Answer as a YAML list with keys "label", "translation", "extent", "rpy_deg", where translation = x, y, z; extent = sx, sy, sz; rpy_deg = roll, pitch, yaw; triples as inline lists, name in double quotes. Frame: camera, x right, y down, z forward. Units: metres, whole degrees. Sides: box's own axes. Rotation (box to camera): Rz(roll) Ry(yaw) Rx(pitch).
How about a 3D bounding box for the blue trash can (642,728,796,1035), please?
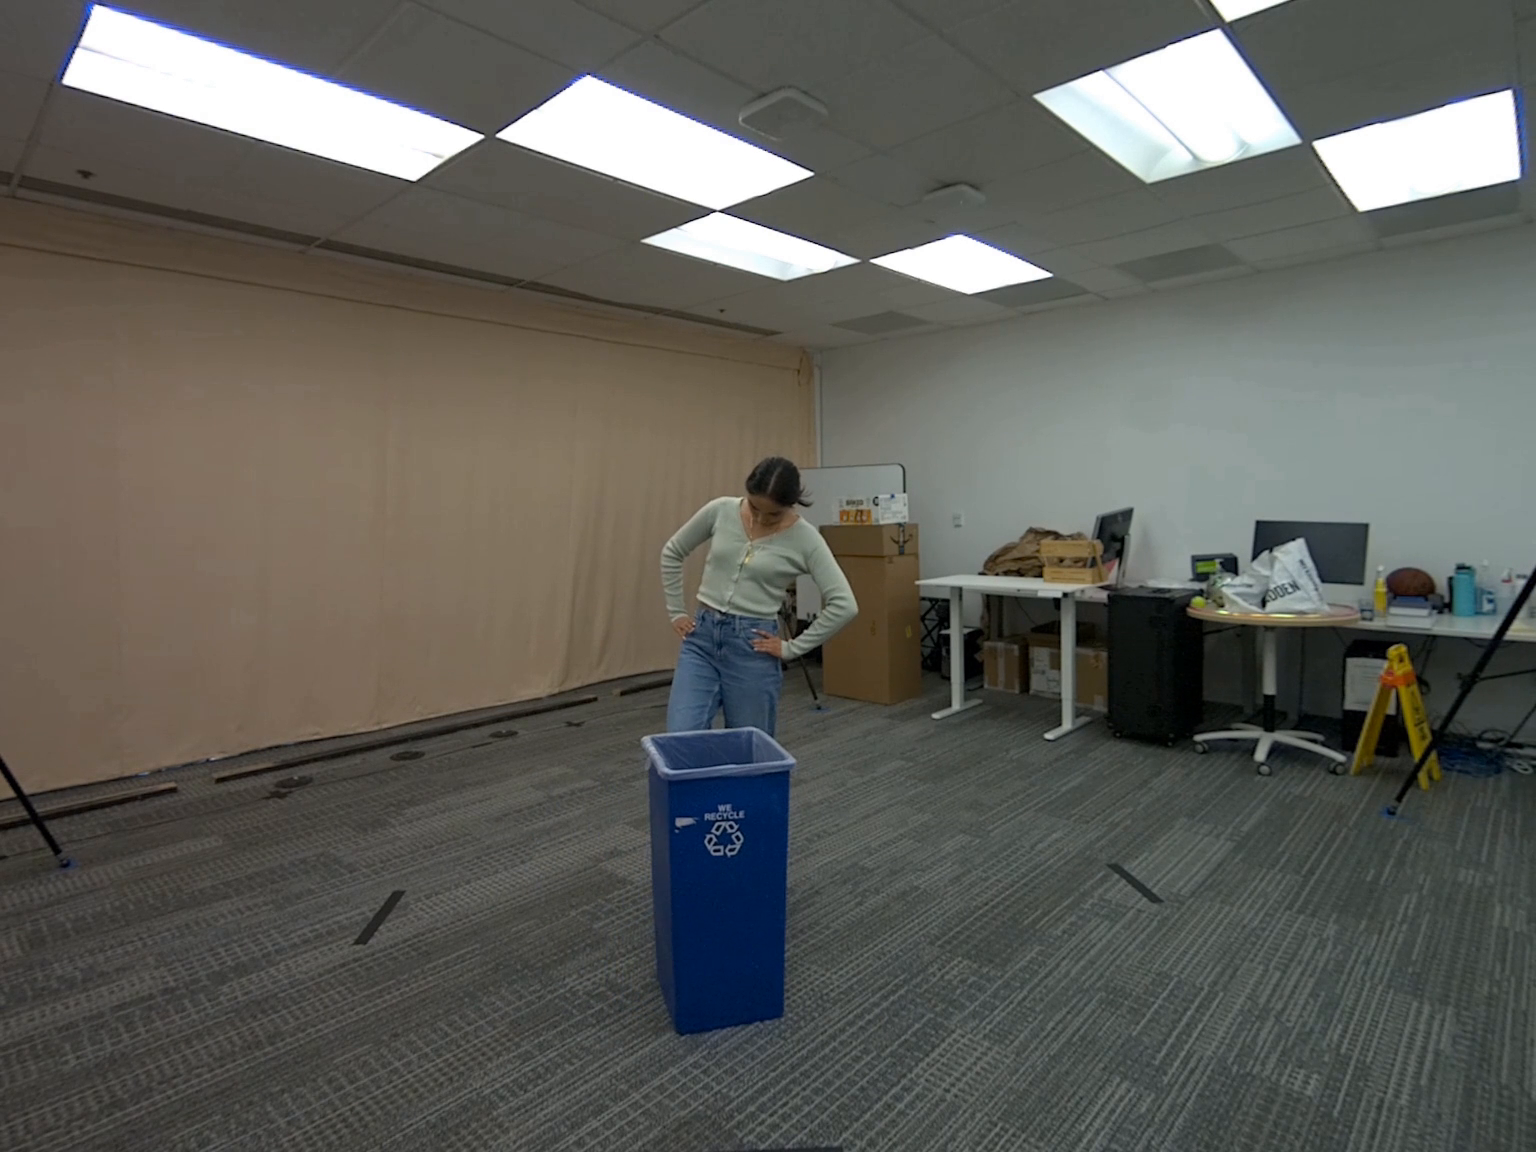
- label: "blue trash can"
  translation: [-0.145, 0.834, 2.369]
  extent: [0.372, 0.712, 0.381]
  rpy_deg: [-2, 3, -17]
